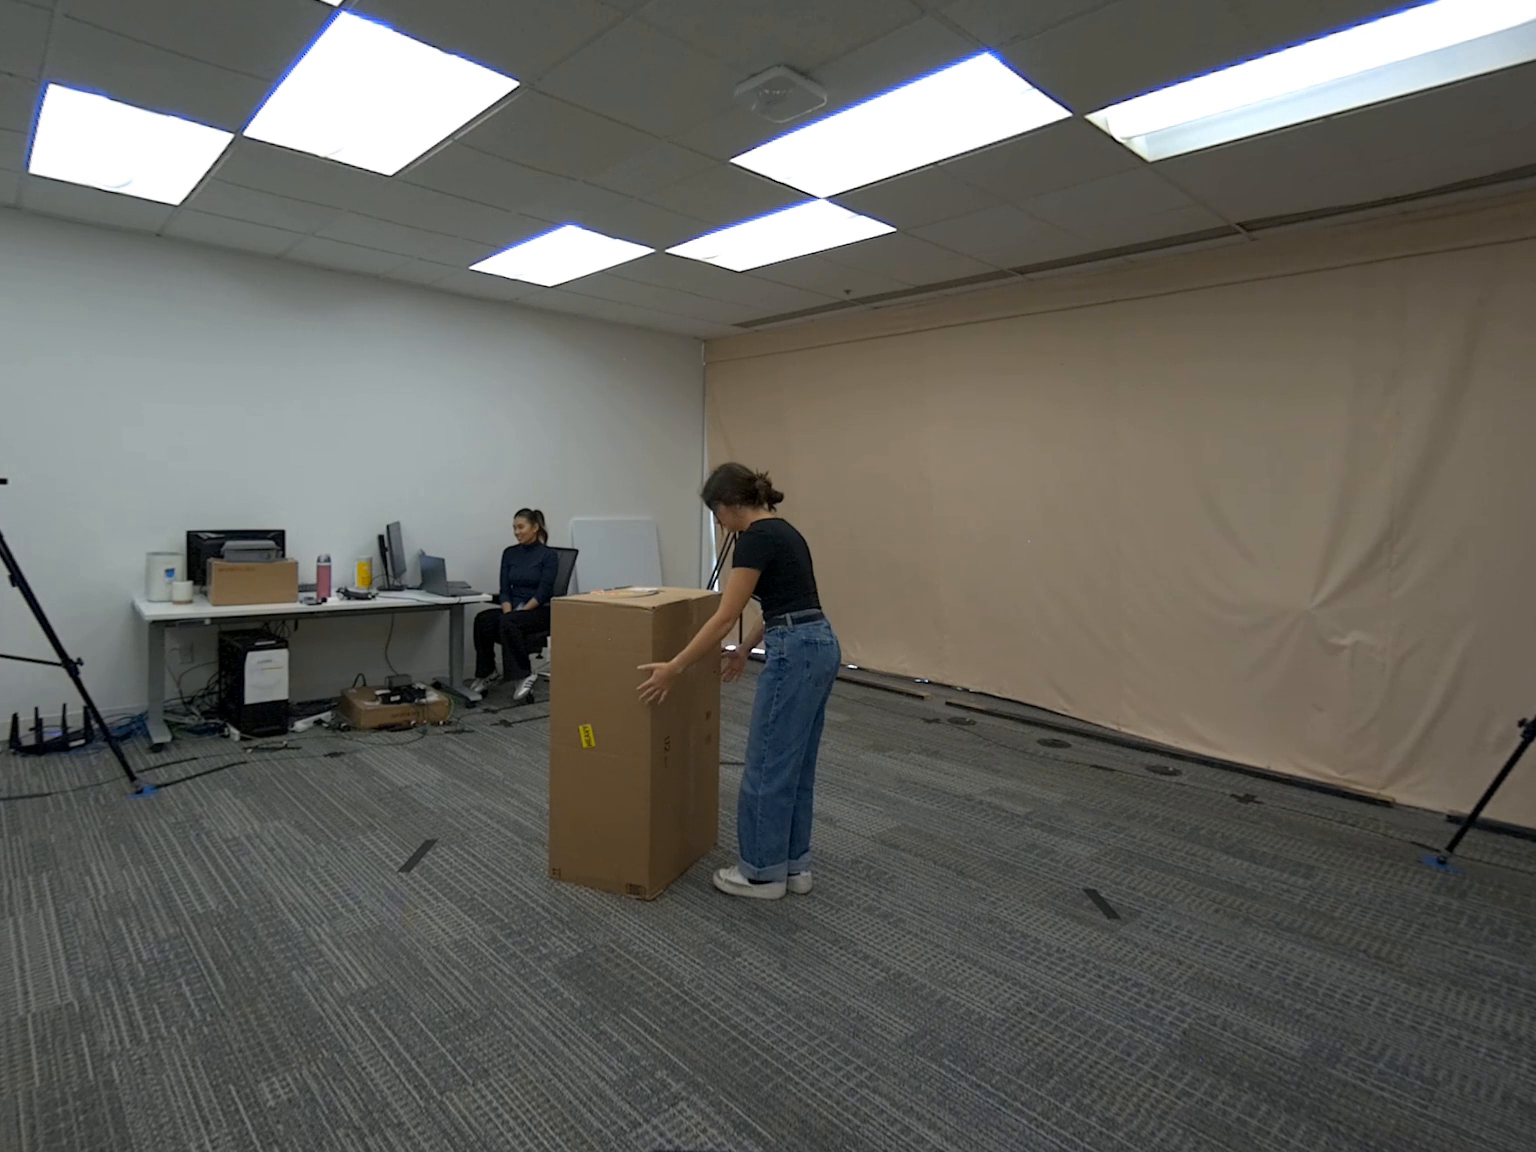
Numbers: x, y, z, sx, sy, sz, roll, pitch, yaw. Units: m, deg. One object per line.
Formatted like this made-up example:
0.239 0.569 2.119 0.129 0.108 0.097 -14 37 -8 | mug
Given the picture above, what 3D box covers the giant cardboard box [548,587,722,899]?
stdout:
-0.494 0.579 3.212 0.434 1.023 0.568 3 4 23 | giant cardboard box
